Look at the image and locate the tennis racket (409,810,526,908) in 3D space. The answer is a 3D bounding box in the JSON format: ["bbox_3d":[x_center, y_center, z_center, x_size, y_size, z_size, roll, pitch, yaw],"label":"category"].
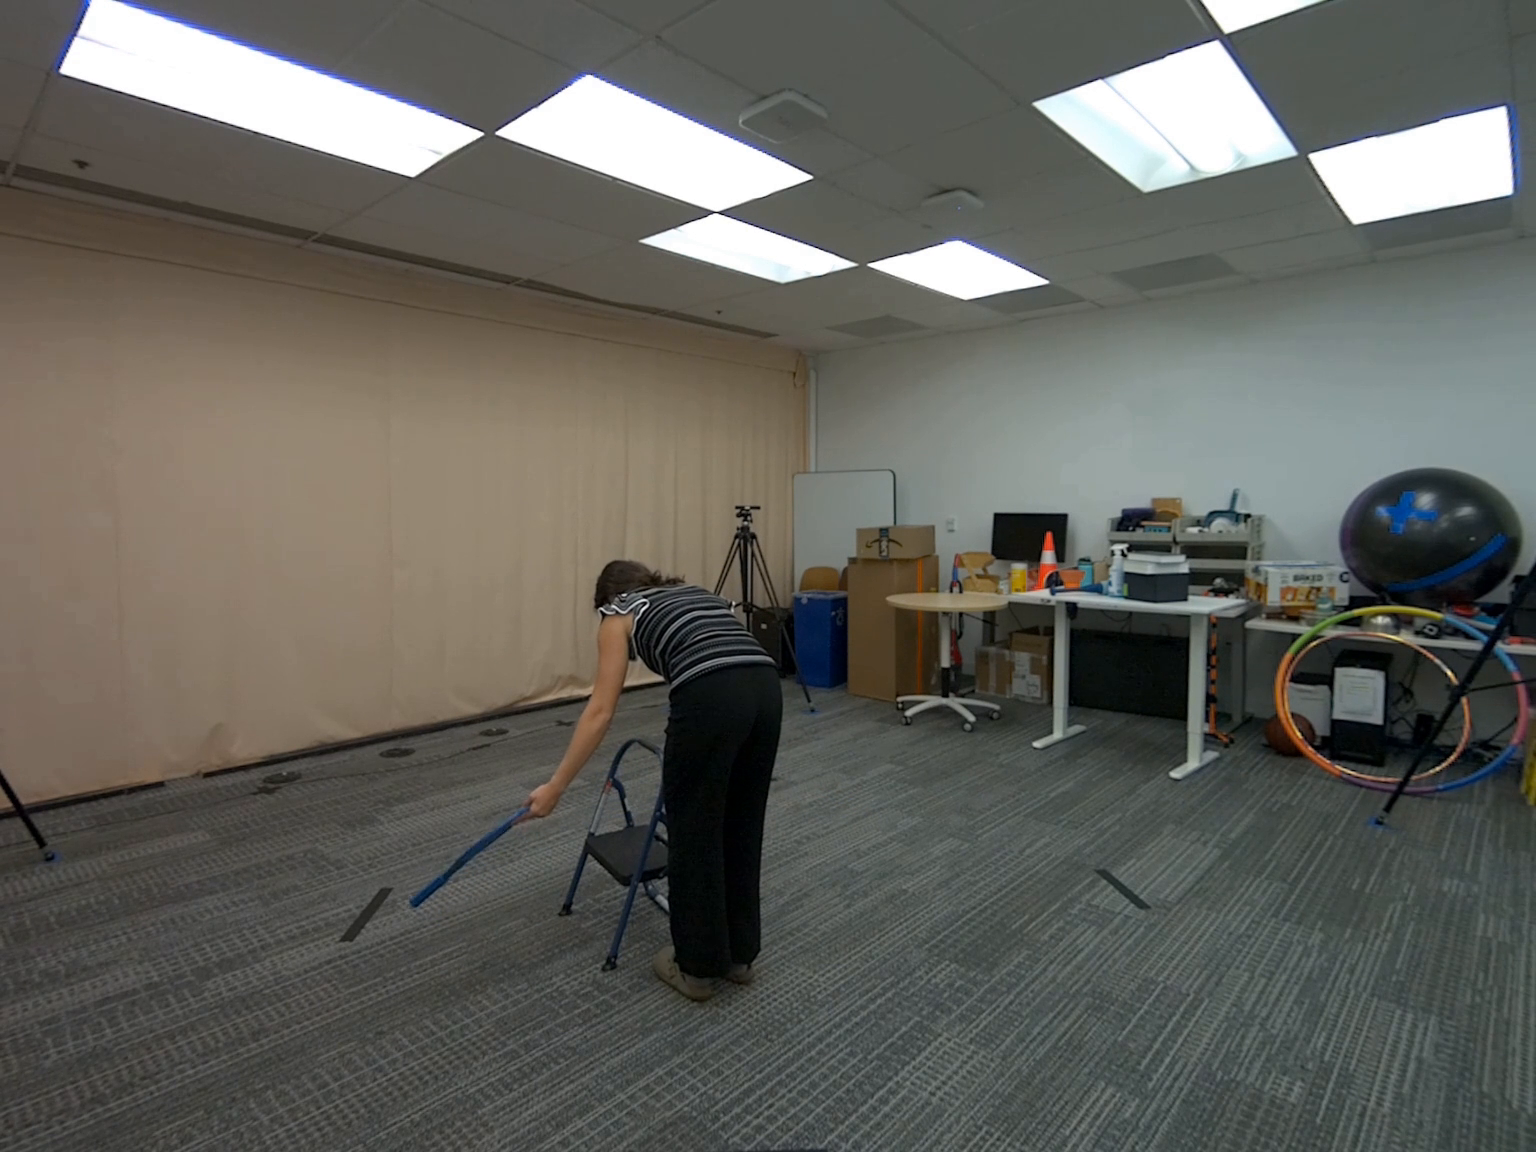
[{"bbox_3d":[-0.816,0.777,2.324,0.434,0.032,0.211,-40,-7,7],"label":"tennis racket"}]
